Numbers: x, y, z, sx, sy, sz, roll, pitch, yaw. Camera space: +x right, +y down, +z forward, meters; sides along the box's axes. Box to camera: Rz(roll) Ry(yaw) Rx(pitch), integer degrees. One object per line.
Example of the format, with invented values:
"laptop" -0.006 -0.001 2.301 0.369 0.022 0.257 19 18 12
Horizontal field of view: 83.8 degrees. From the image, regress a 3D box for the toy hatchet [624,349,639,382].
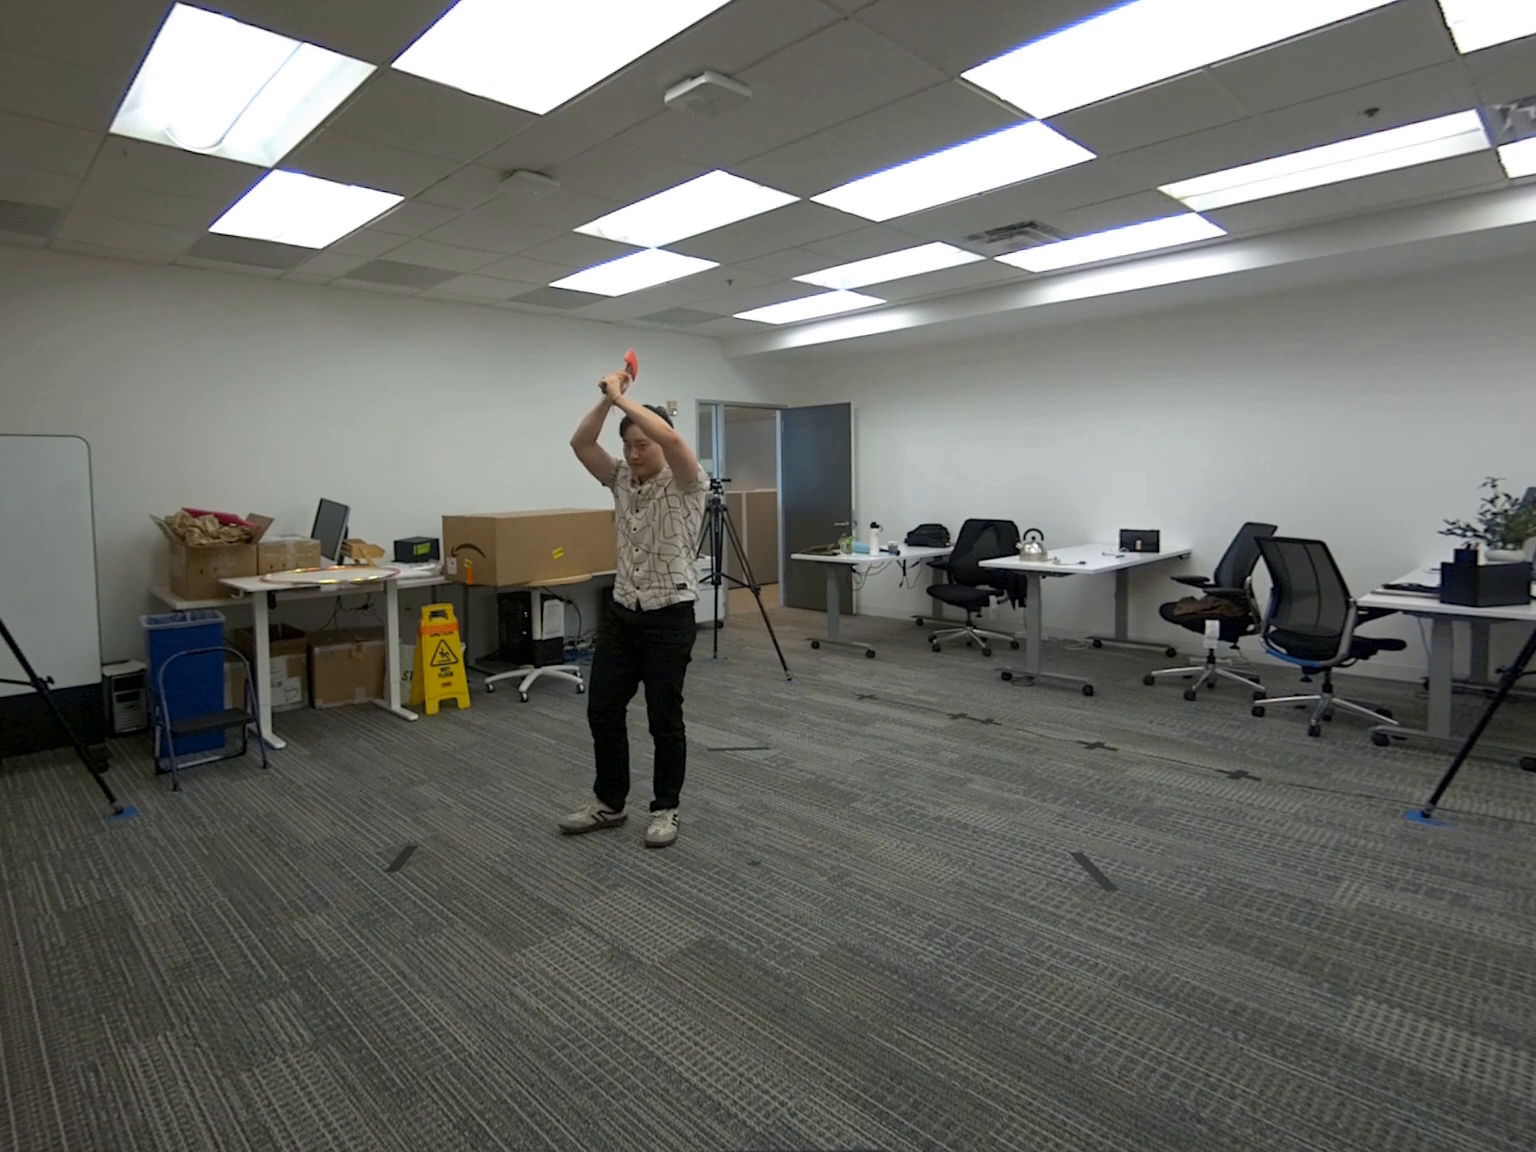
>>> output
"toy hatchet" -0.540 -0.755 3.112 0.030 0.129 0.270 15 24 13
